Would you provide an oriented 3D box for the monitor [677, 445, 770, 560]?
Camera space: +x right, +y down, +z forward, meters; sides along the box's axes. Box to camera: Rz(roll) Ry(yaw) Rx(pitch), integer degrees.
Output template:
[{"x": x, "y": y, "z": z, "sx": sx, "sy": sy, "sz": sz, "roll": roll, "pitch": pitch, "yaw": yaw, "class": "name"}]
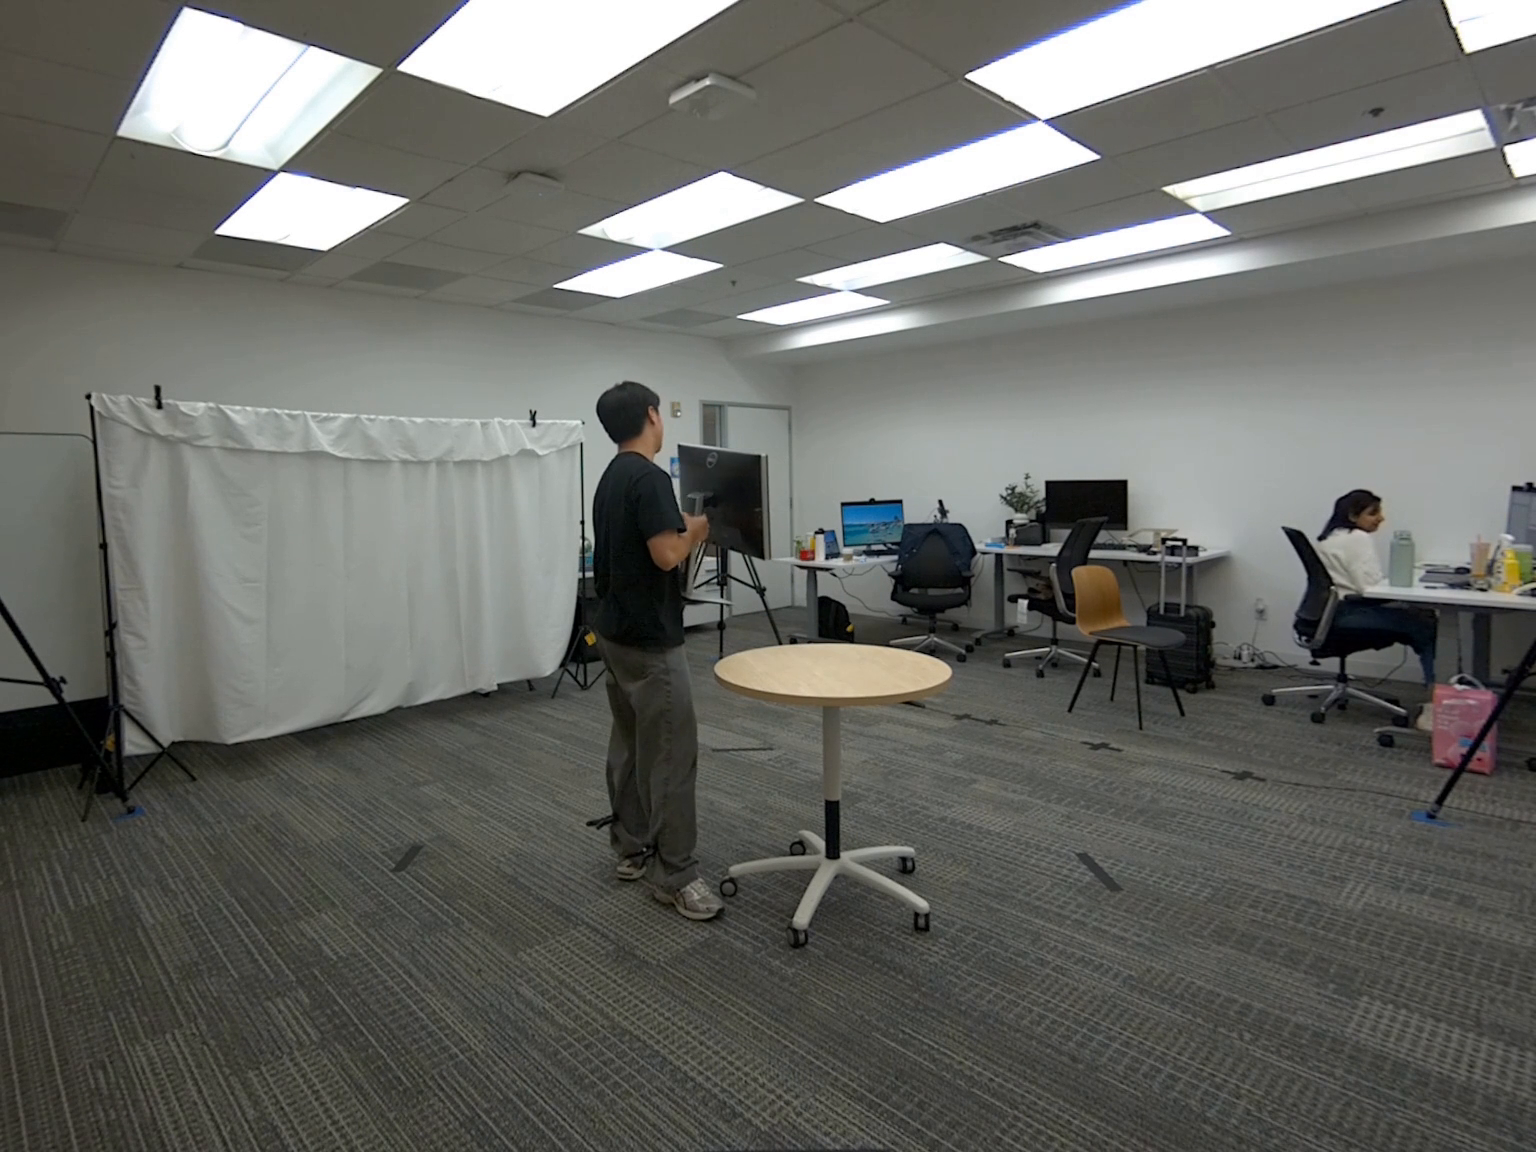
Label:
[{"x": -0.209, "y": -0.182, "z": 3.078, "sx": 0.216, "sy": 0.564, "sz": 0.580, "roll": 9, "pitch": 5, "yaw": -33, "class": "monitor"}]
